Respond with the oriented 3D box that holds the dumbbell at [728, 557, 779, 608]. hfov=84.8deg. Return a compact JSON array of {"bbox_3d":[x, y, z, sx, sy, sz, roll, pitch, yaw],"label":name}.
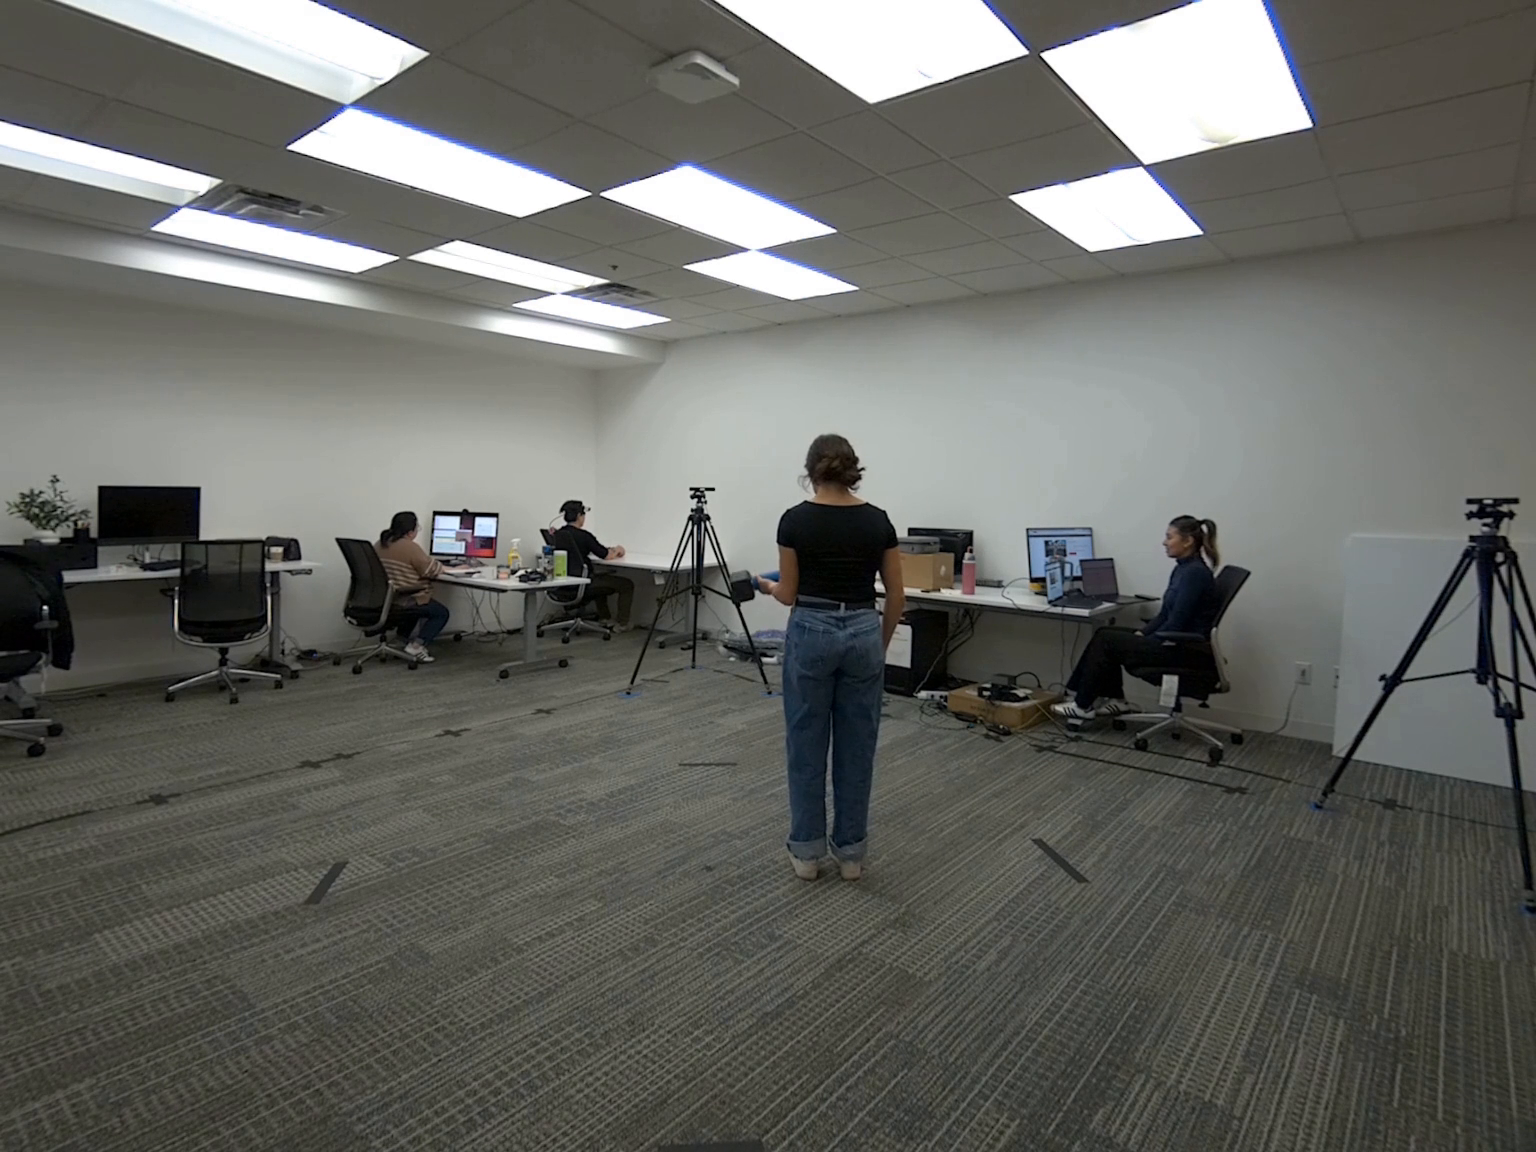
[{"bbox_3d":[-0.001,0.013,3.328,0.295,0.105,0.126,-13,32,8],"label":"dumbbell"}]
